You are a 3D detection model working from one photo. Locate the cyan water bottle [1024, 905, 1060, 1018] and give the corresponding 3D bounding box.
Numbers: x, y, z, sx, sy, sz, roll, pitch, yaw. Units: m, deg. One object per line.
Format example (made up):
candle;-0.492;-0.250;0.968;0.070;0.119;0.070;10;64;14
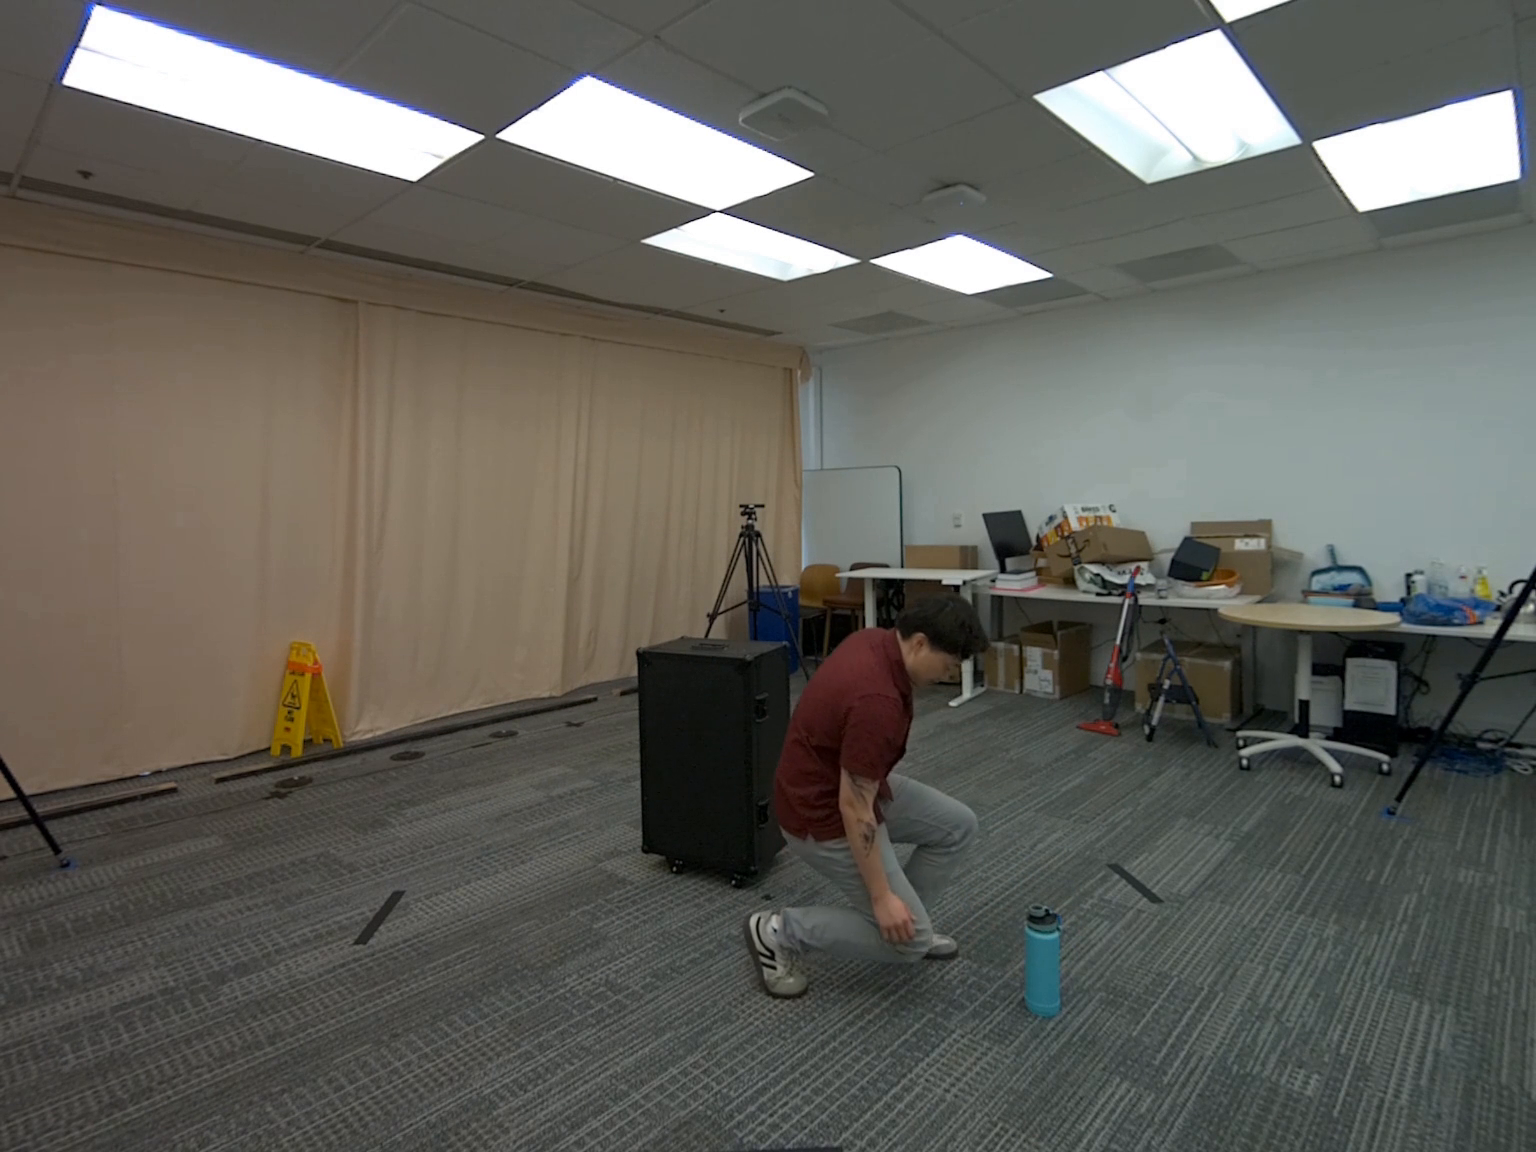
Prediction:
cyan water bottle;0.762;1.047;2.293;0.092;0.283;0.092;1;2;-2
